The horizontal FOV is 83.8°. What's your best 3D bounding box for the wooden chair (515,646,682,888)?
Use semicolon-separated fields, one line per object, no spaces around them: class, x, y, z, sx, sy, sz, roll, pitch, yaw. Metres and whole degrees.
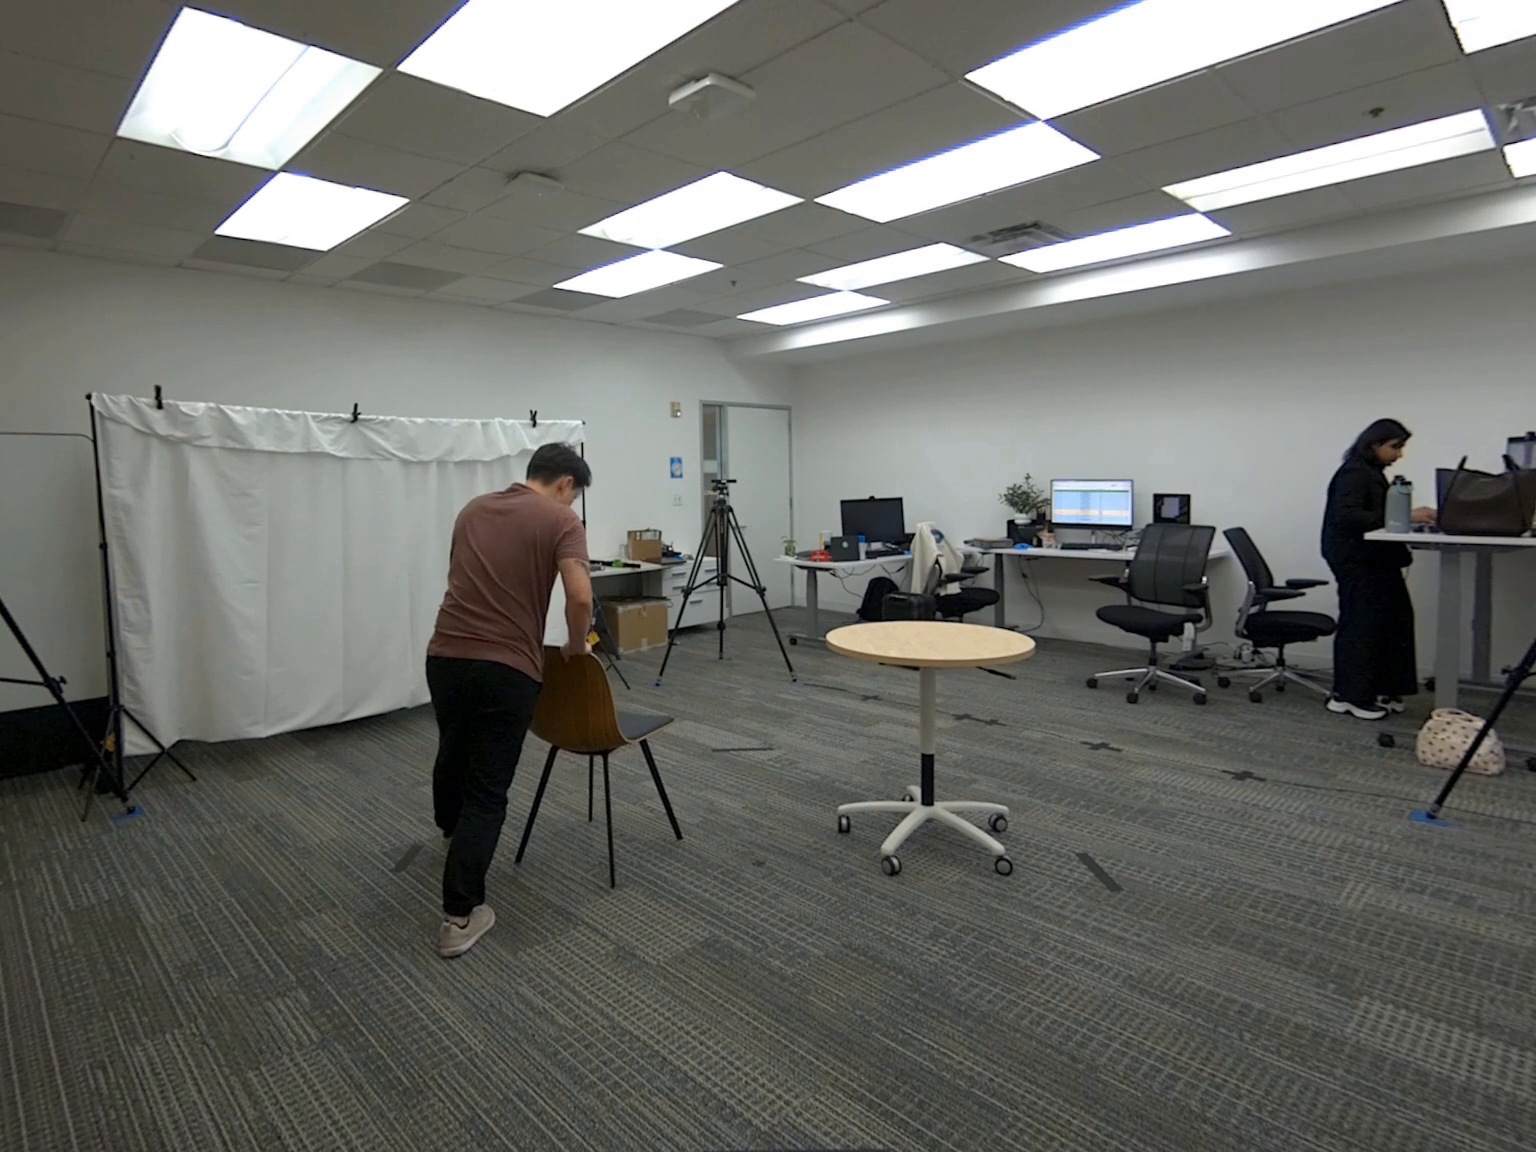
wooden chair;-0.631;0.618;3.222;0.490;0.871;0.514;1;9;28
